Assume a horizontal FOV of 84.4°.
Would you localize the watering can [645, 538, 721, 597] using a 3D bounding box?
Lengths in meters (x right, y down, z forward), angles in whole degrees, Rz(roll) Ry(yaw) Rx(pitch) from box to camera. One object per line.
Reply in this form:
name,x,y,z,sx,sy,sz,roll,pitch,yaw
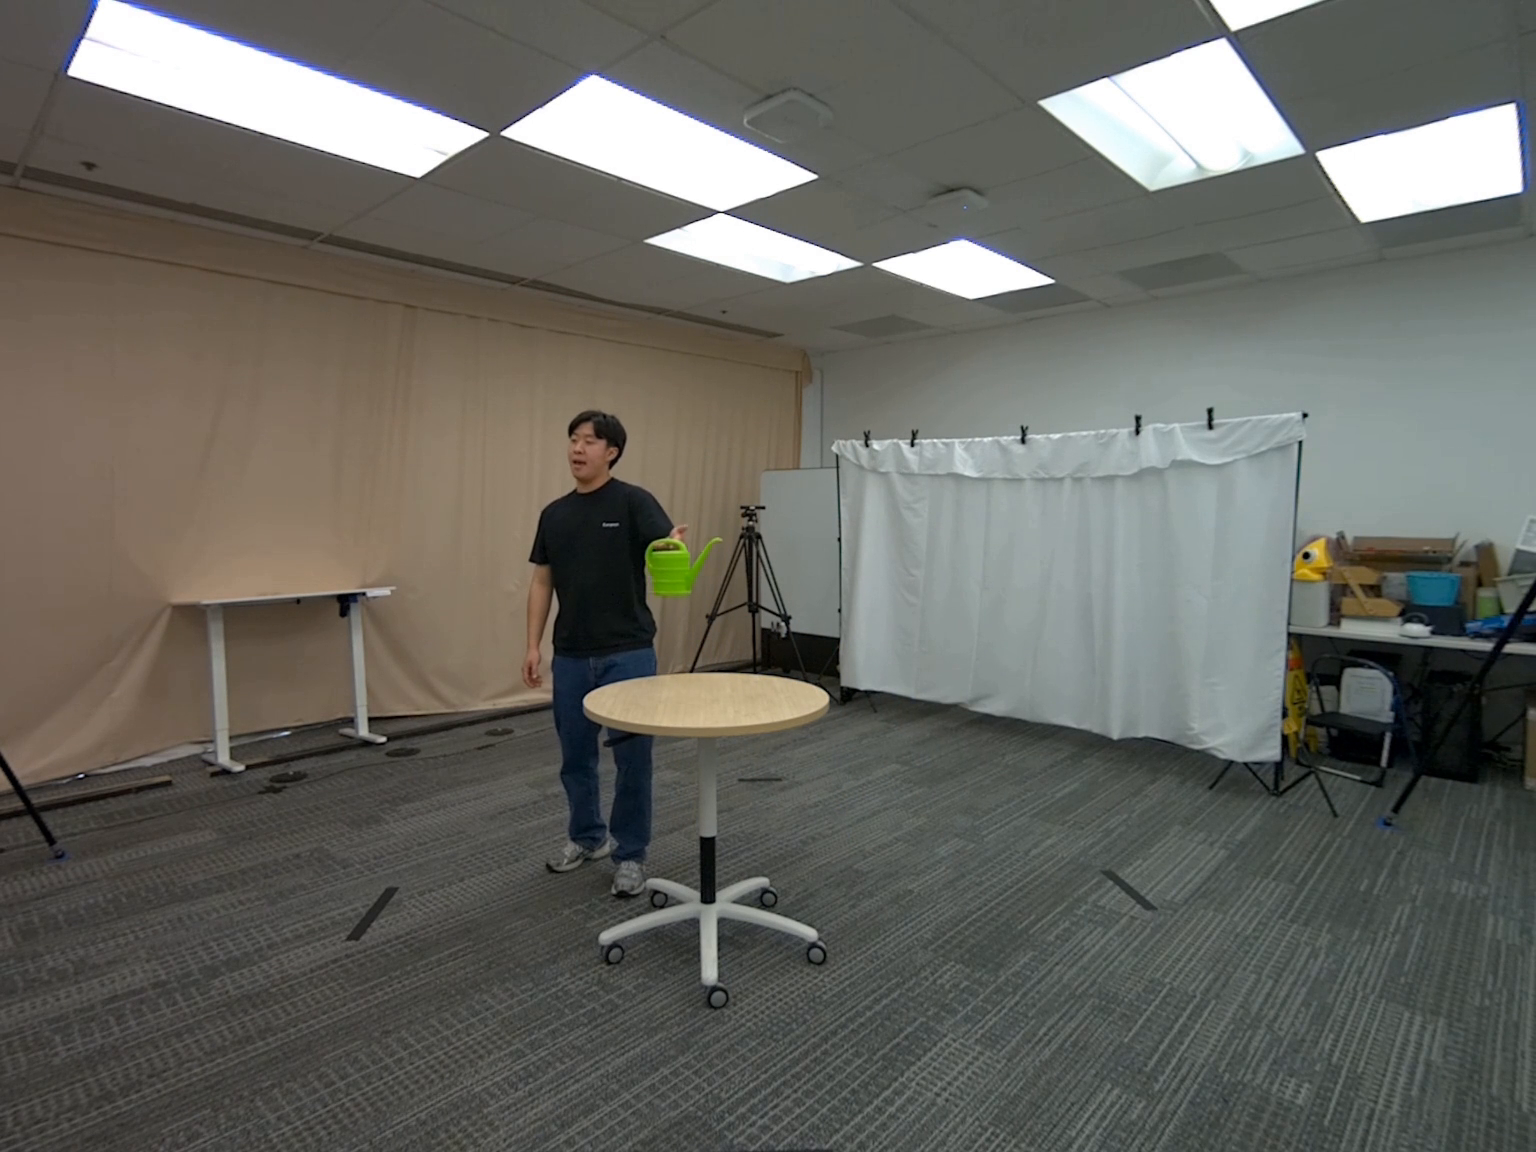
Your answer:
watering can,-0.267,-0.025,2.598,0.287,0.176,0.095,0,3,40
